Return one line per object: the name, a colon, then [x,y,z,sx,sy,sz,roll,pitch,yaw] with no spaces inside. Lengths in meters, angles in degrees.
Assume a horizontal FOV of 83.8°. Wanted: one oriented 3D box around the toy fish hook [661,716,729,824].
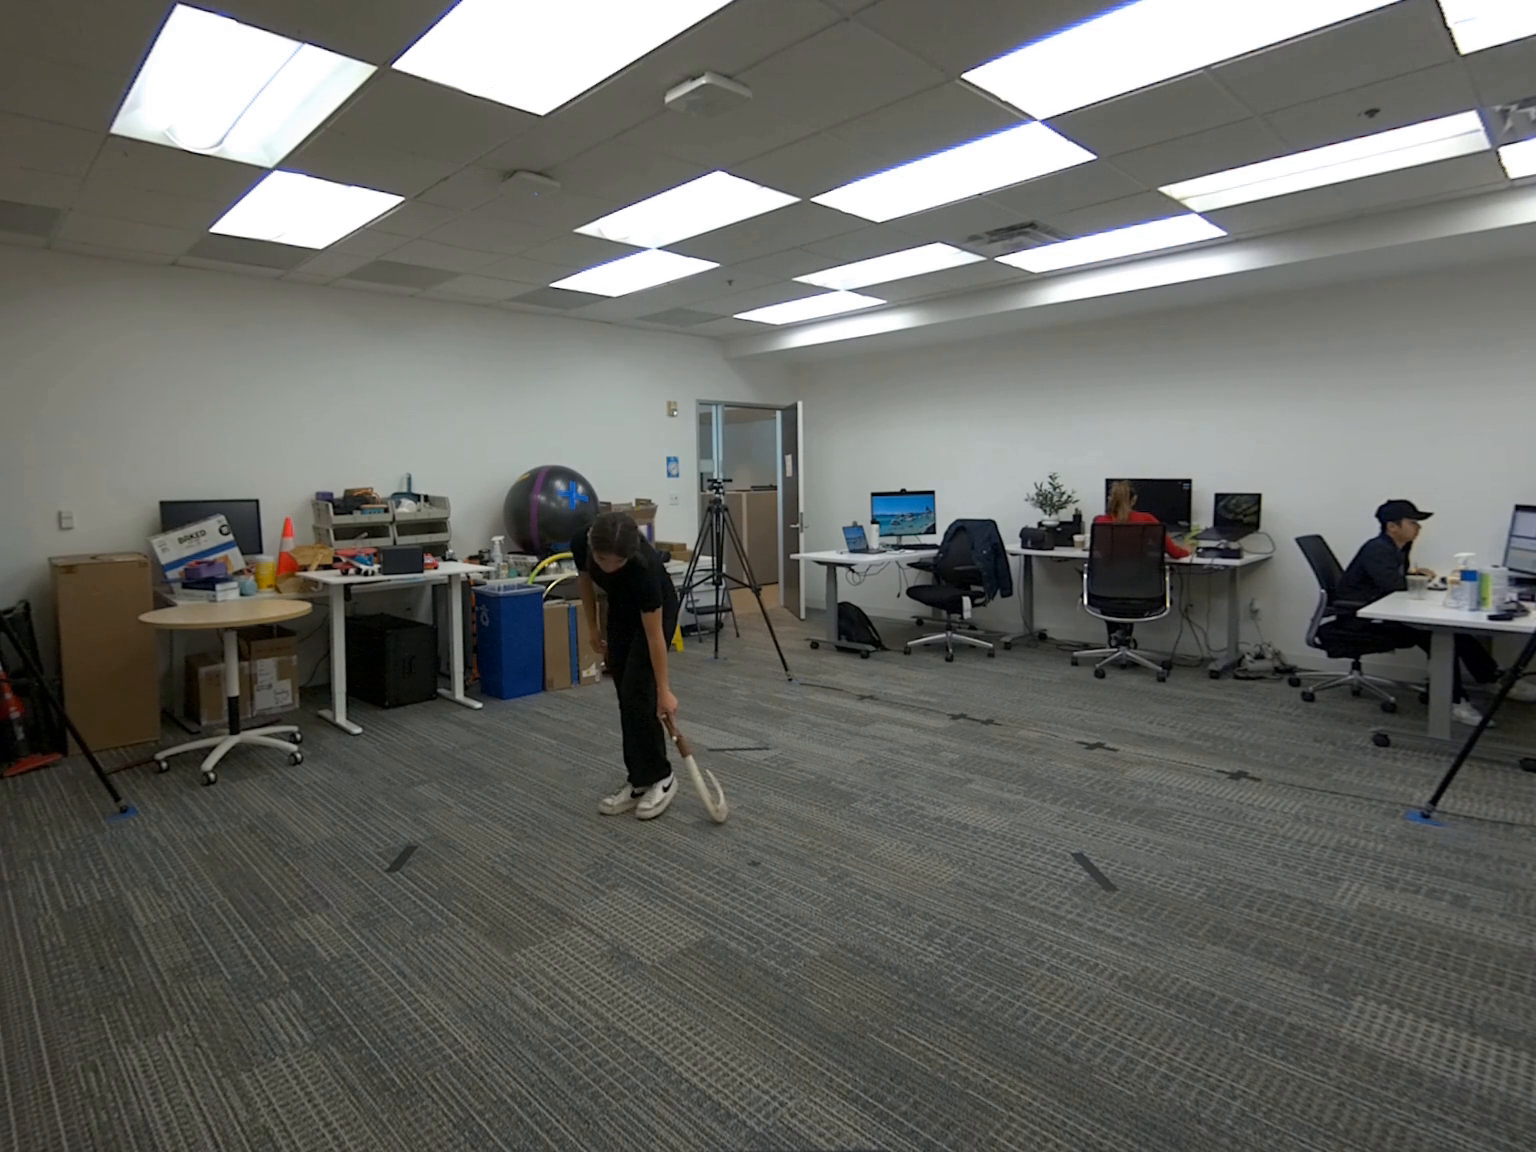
toy fish hook: [-0.295,0.778,3.534,0.048,0.508,0.223,-28,-2,7]
